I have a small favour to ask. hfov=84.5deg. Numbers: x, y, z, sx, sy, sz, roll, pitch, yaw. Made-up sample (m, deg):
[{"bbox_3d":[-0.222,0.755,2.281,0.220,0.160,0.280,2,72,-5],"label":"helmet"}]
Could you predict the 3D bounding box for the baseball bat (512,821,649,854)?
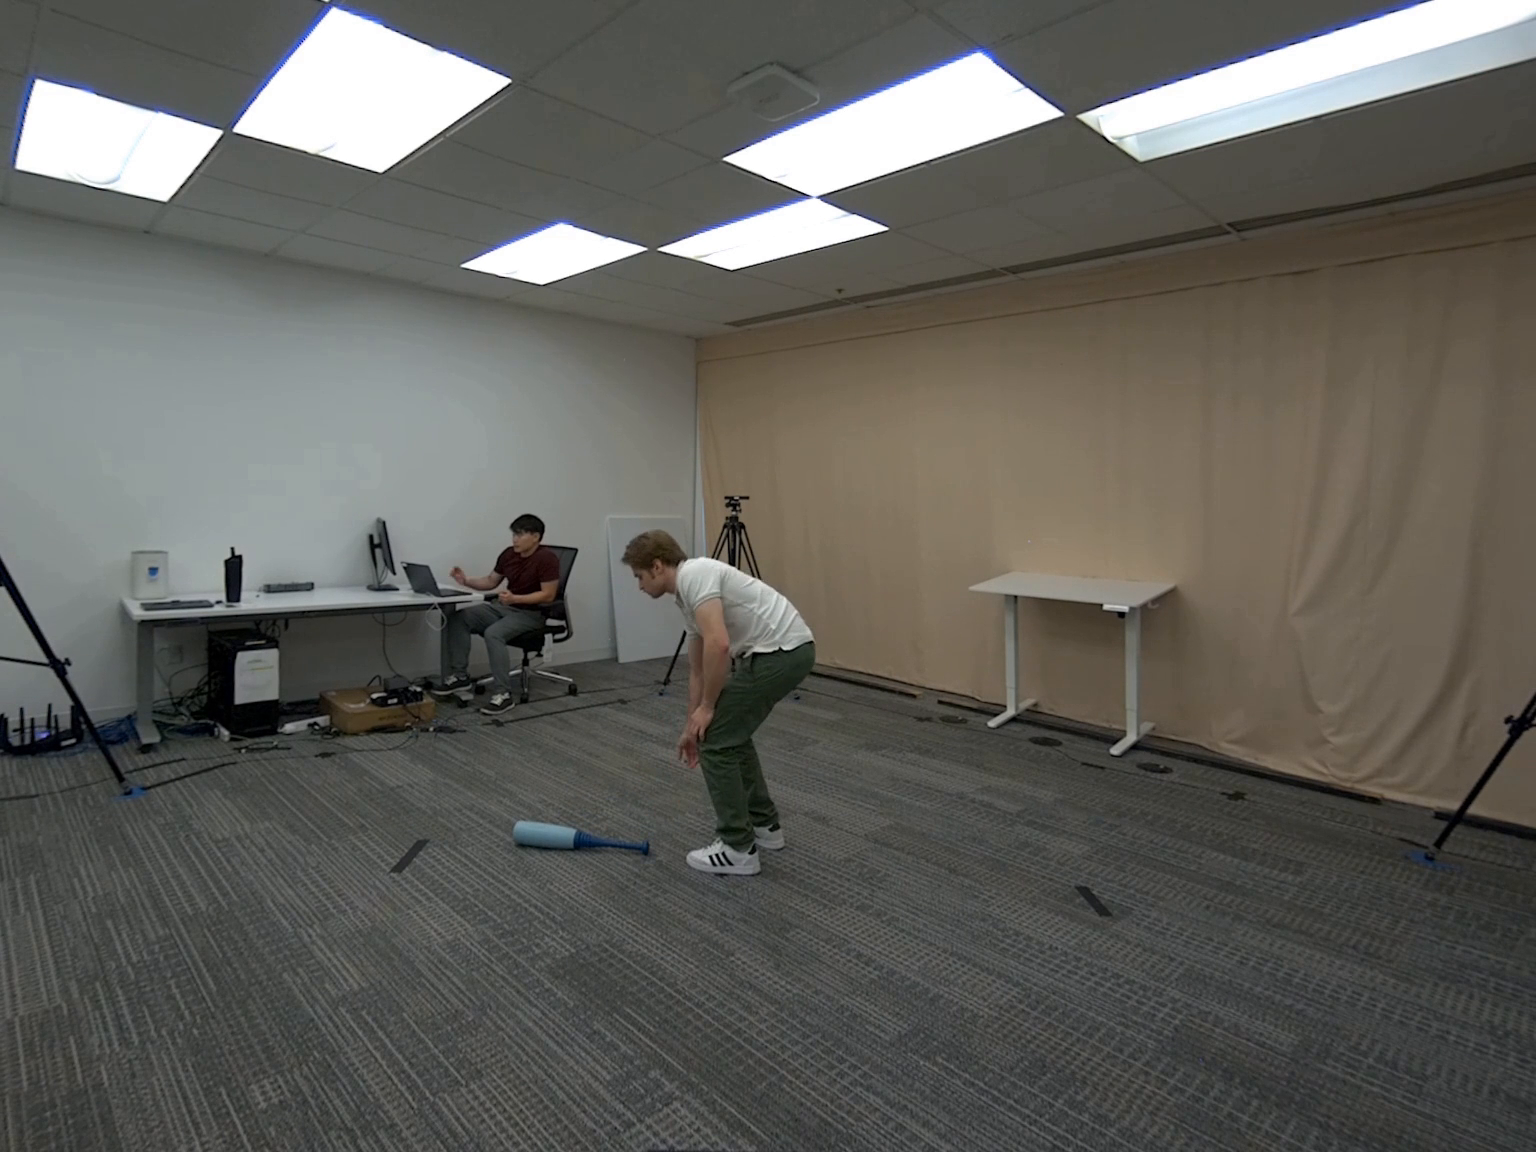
[{"bbox_3d":[-0.738,1.039,3.299,0.546,0.089,0.089,6,5,6],"label":"baseball bat"}]
